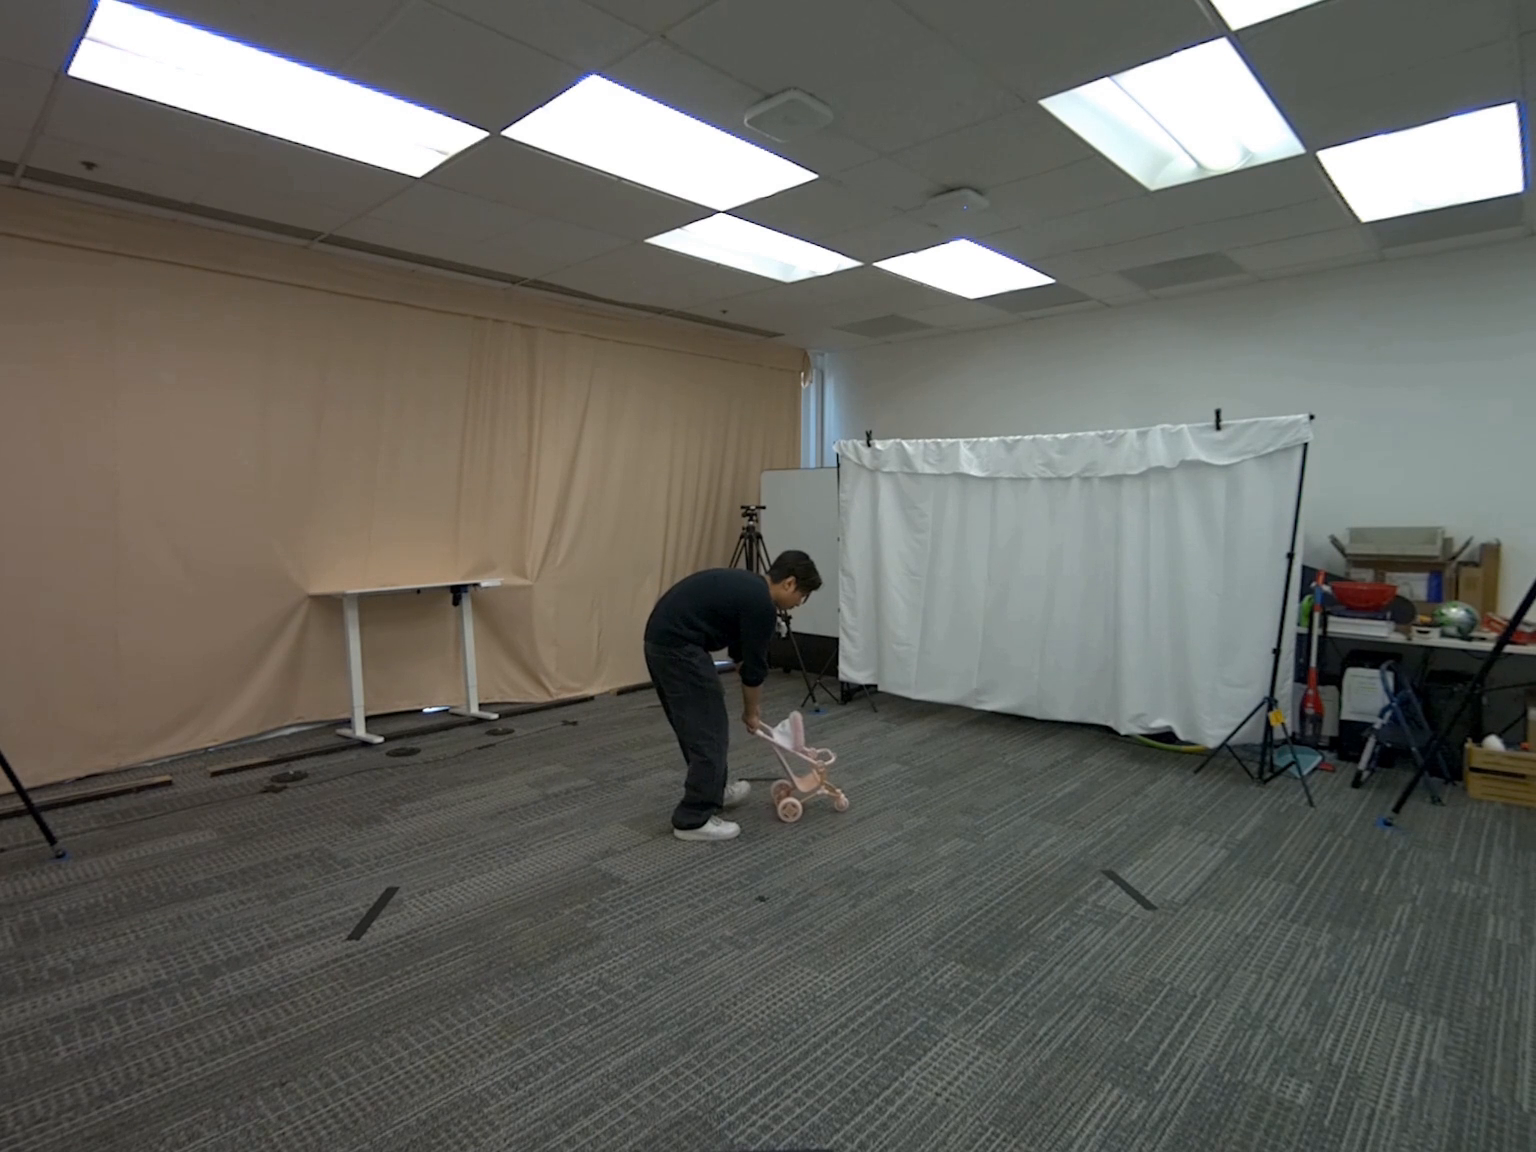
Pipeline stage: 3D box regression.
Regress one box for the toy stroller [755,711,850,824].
[{"bbox_3d":[0.142,0.854,3.814,0.342,0.533,0.282,-16,4,1],"label":"toy stroller"}]
